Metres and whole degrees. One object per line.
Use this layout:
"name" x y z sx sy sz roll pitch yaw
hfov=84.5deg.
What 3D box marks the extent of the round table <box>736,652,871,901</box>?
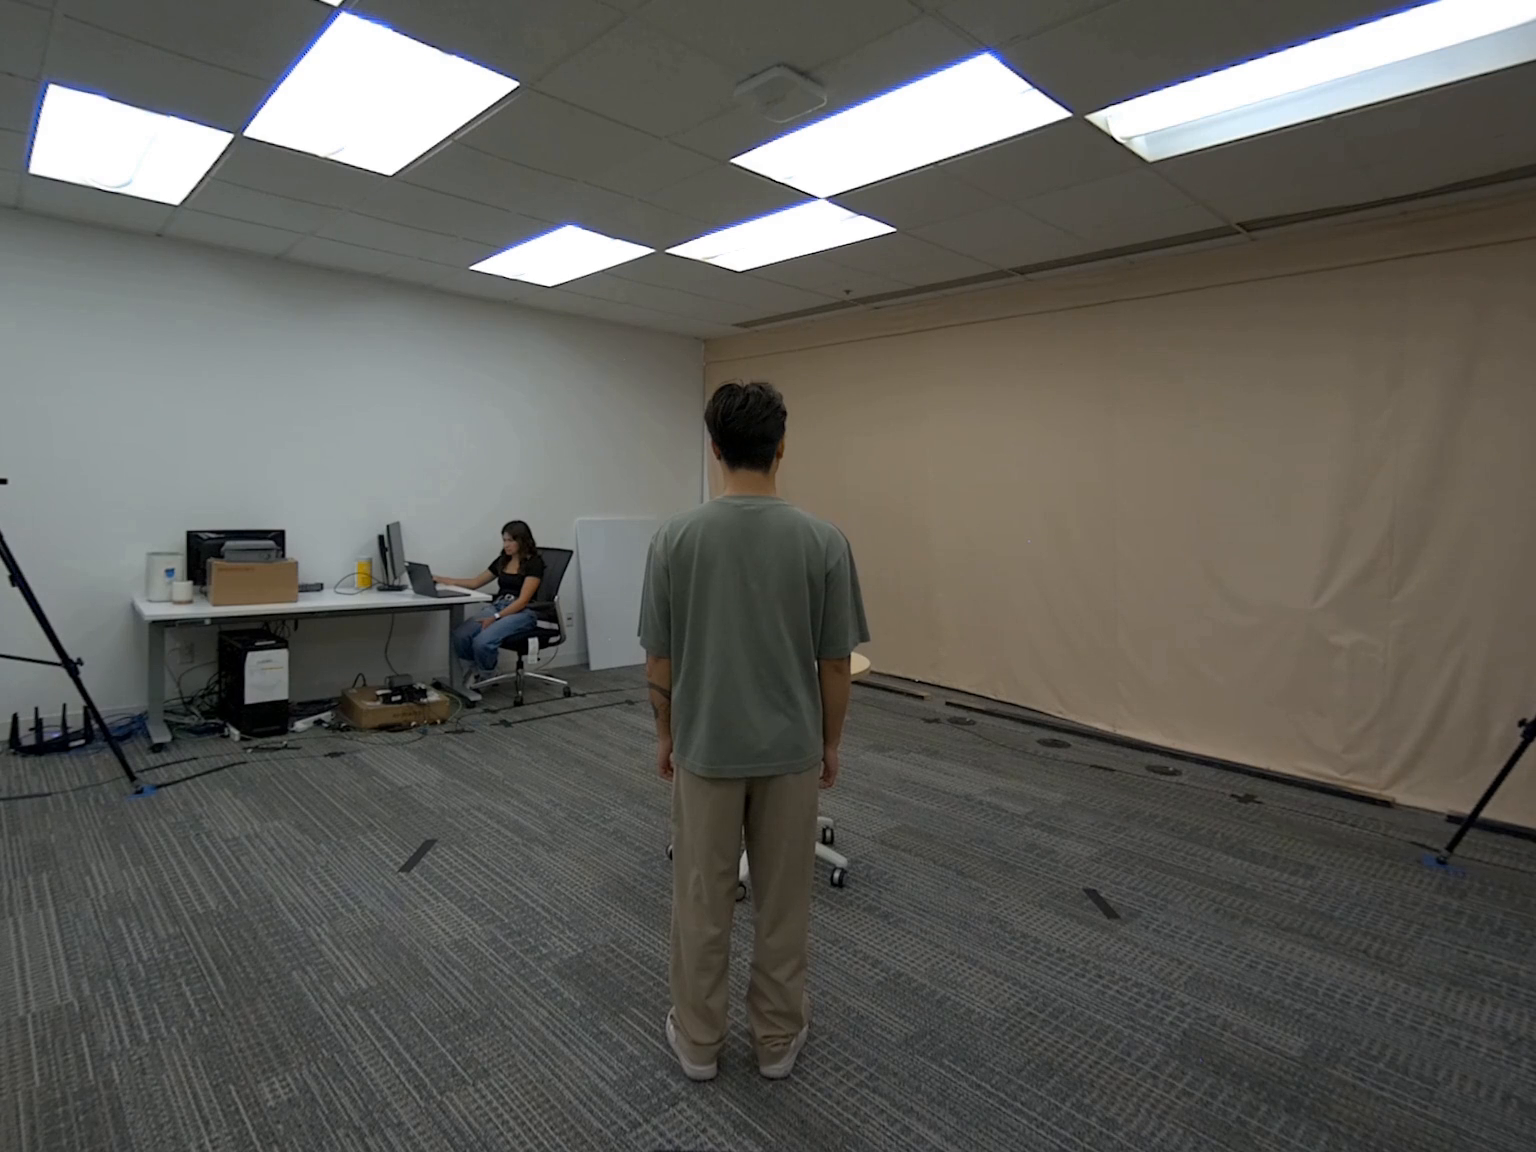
"round table" 0.006 0.709 3.238 0.784 0.784 0.788 1 4 -1
